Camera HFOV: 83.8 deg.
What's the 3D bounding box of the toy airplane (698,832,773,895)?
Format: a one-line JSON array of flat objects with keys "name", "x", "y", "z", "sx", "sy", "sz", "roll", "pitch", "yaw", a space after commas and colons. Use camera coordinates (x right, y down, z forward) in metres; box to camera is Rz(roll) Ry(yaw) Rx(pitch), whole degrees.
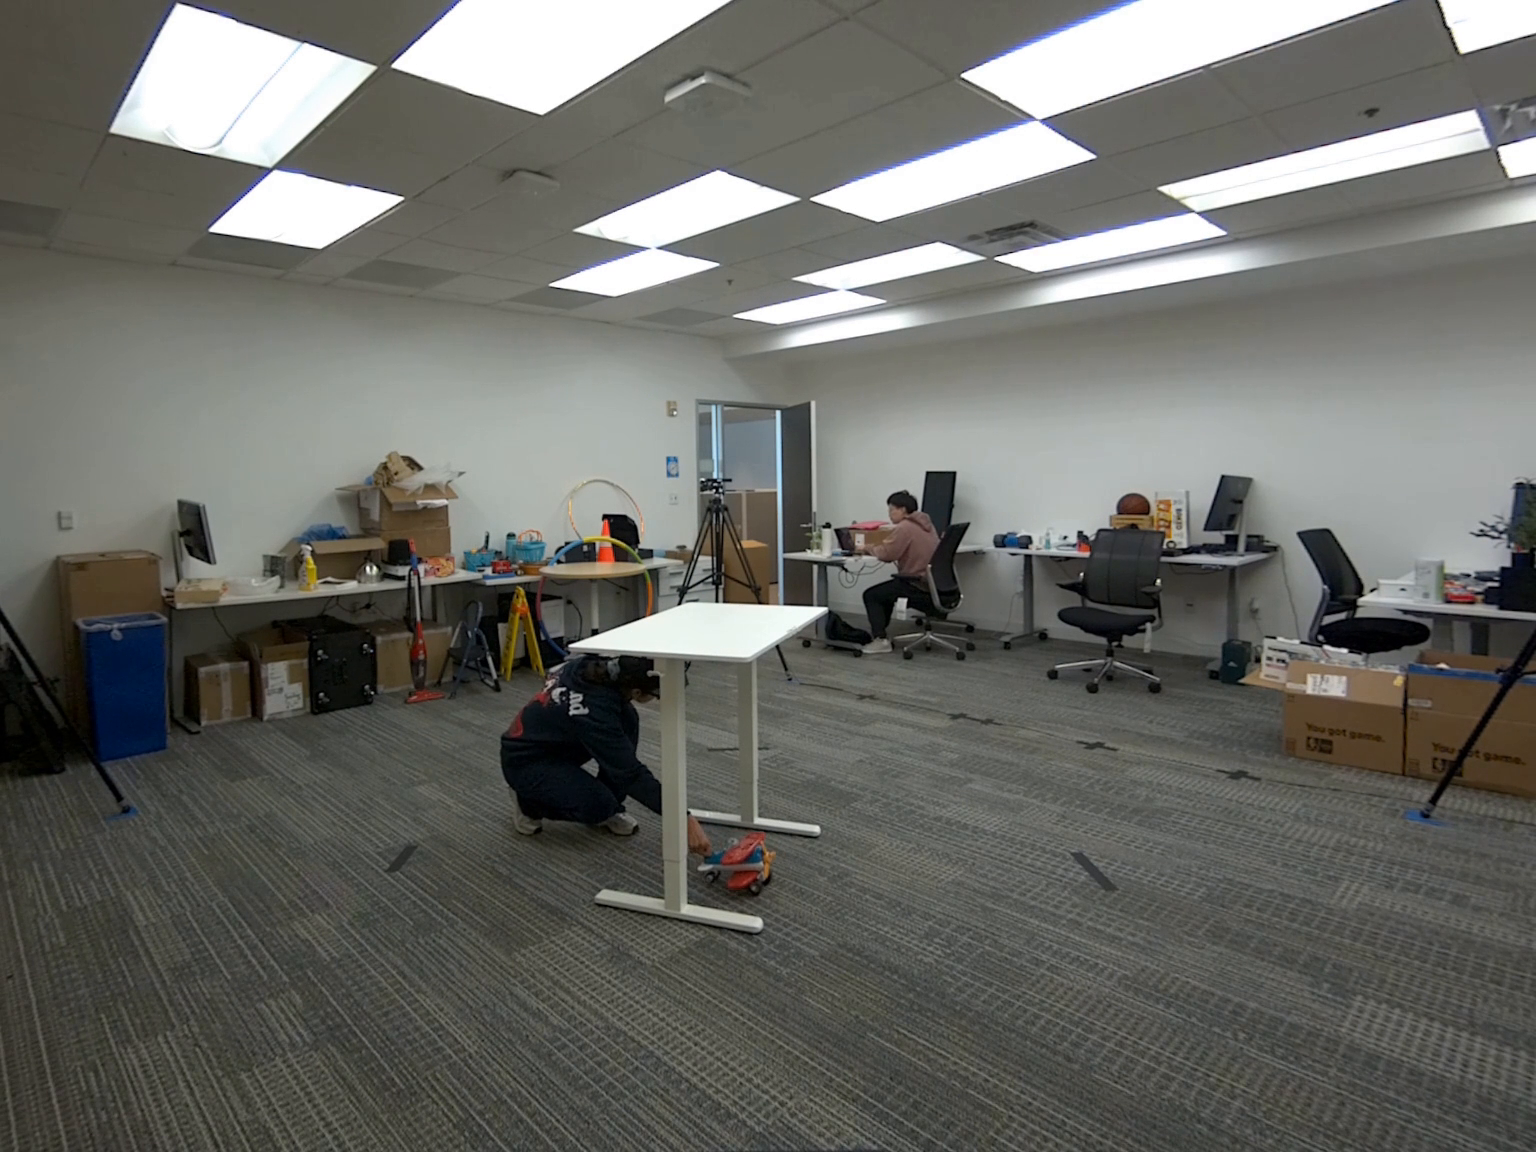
[{"name": "toy airplane", "x": -0.108, "y": 0.995, "z": 2.914, "sx": 0.258, "sy": 0.156, "sz": 0.253, "roll": 0, "pitch": 6, "yaw": -4}]
